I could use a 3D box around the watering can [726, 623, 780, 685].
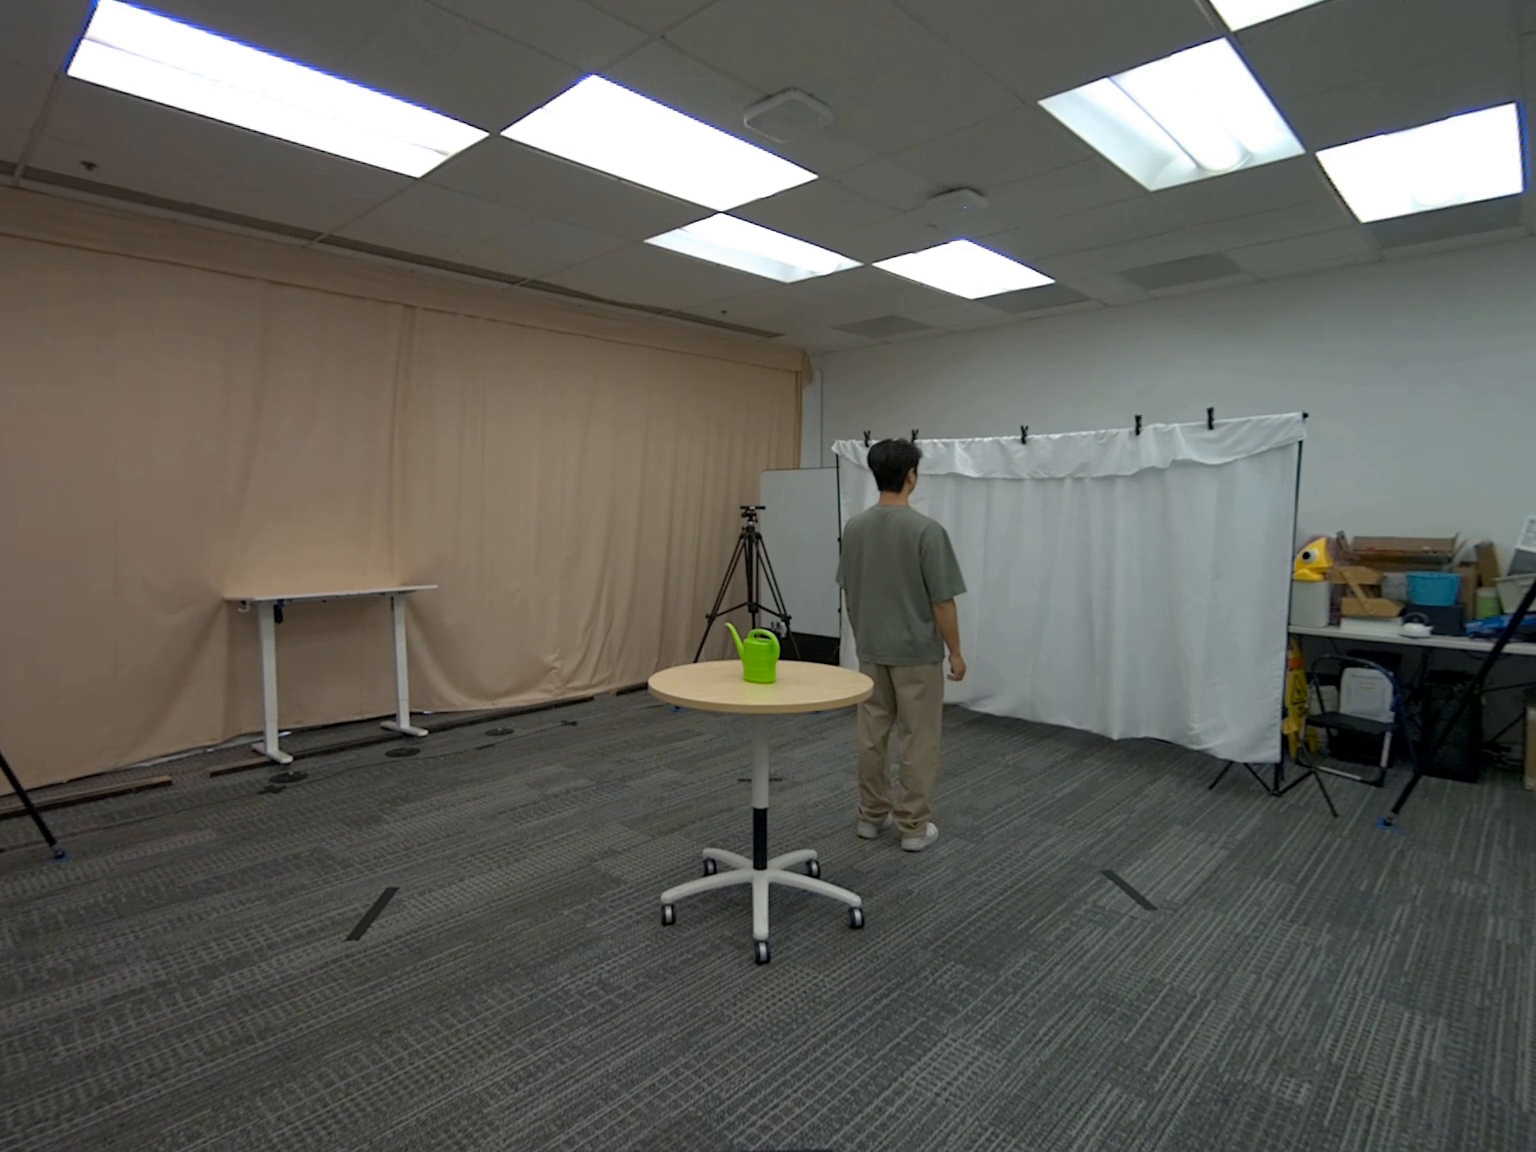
[{"bbox_3d":[-0.043,0.264,2.904,0.095,0.176,0.286,-1,5,-28],"label":"watering can"}]
